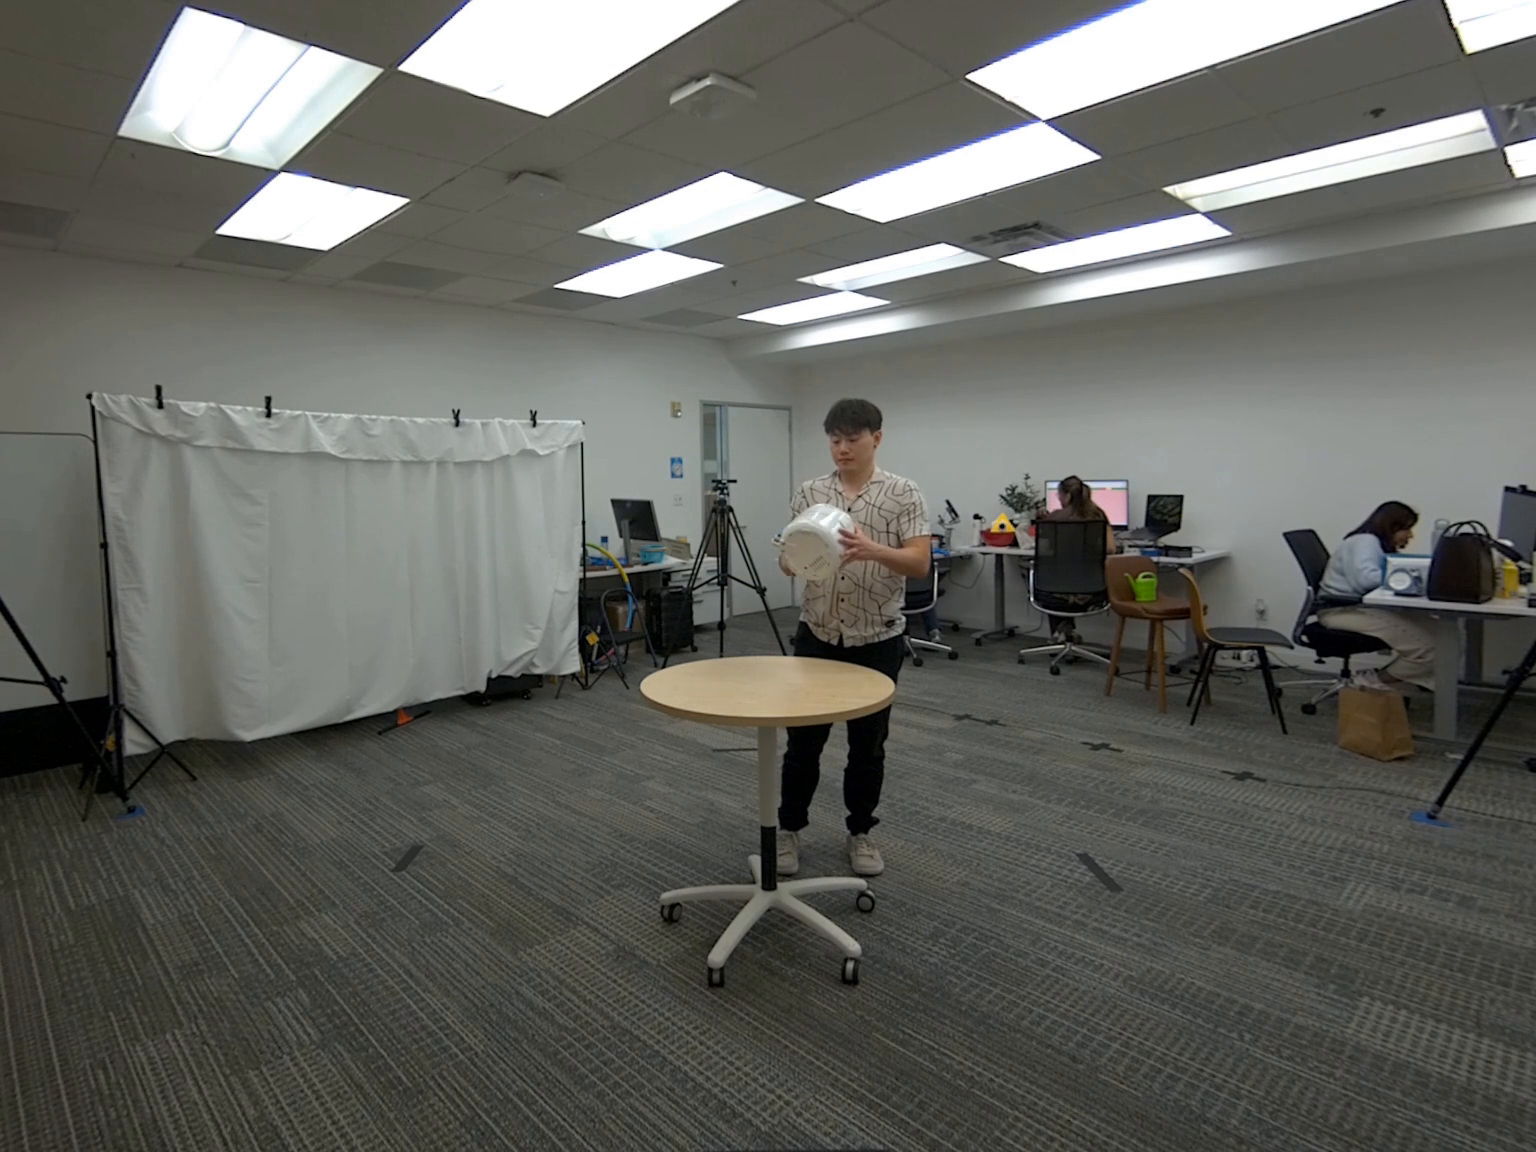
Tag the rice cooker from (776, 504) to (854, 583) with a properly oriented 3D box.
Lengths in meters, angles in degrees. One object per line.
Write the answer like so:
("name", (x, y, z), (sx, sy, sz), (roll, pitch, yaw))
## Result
("rice cooker", (0.166, -0.112, 2.784), (0.221, 0.217, 0.232), (-39, 3, 36))
